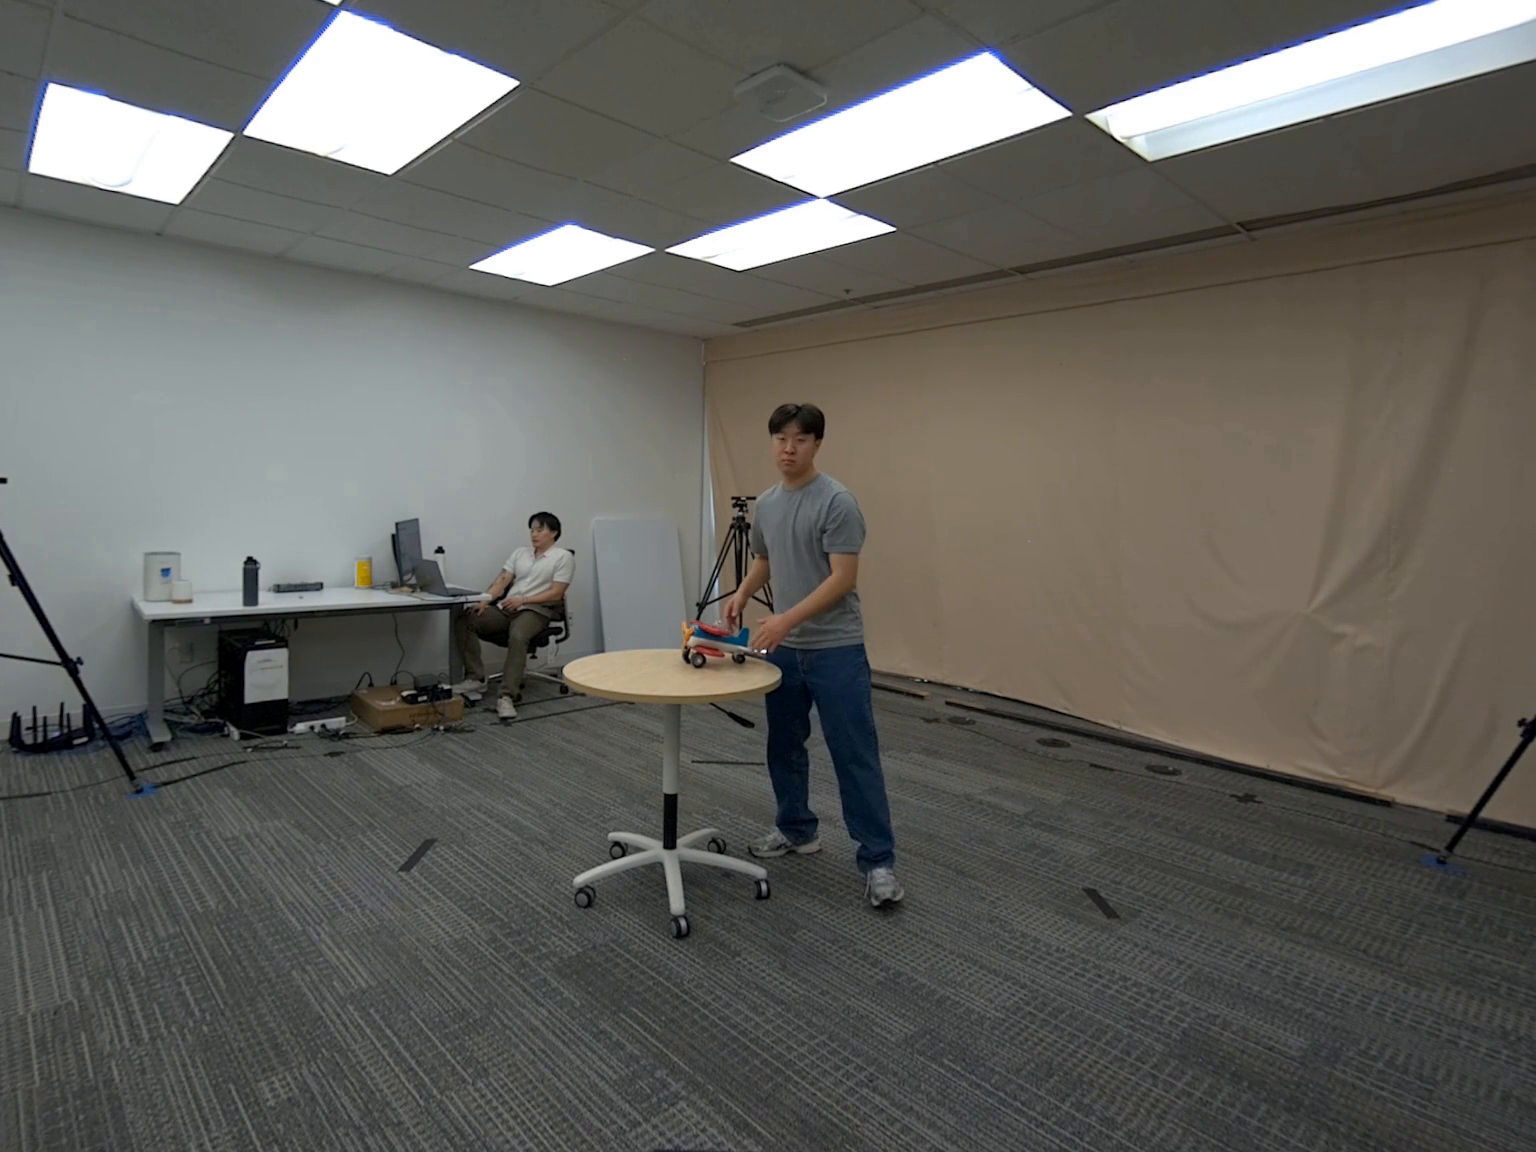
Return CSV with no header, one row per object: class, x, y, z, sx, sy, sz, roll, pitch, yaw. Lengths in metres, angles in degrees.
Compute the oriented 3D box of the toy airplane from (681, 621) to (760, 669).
toy airplane,-0.203,0.244,3.082,0.257,0.156,0.254,6,7,37
